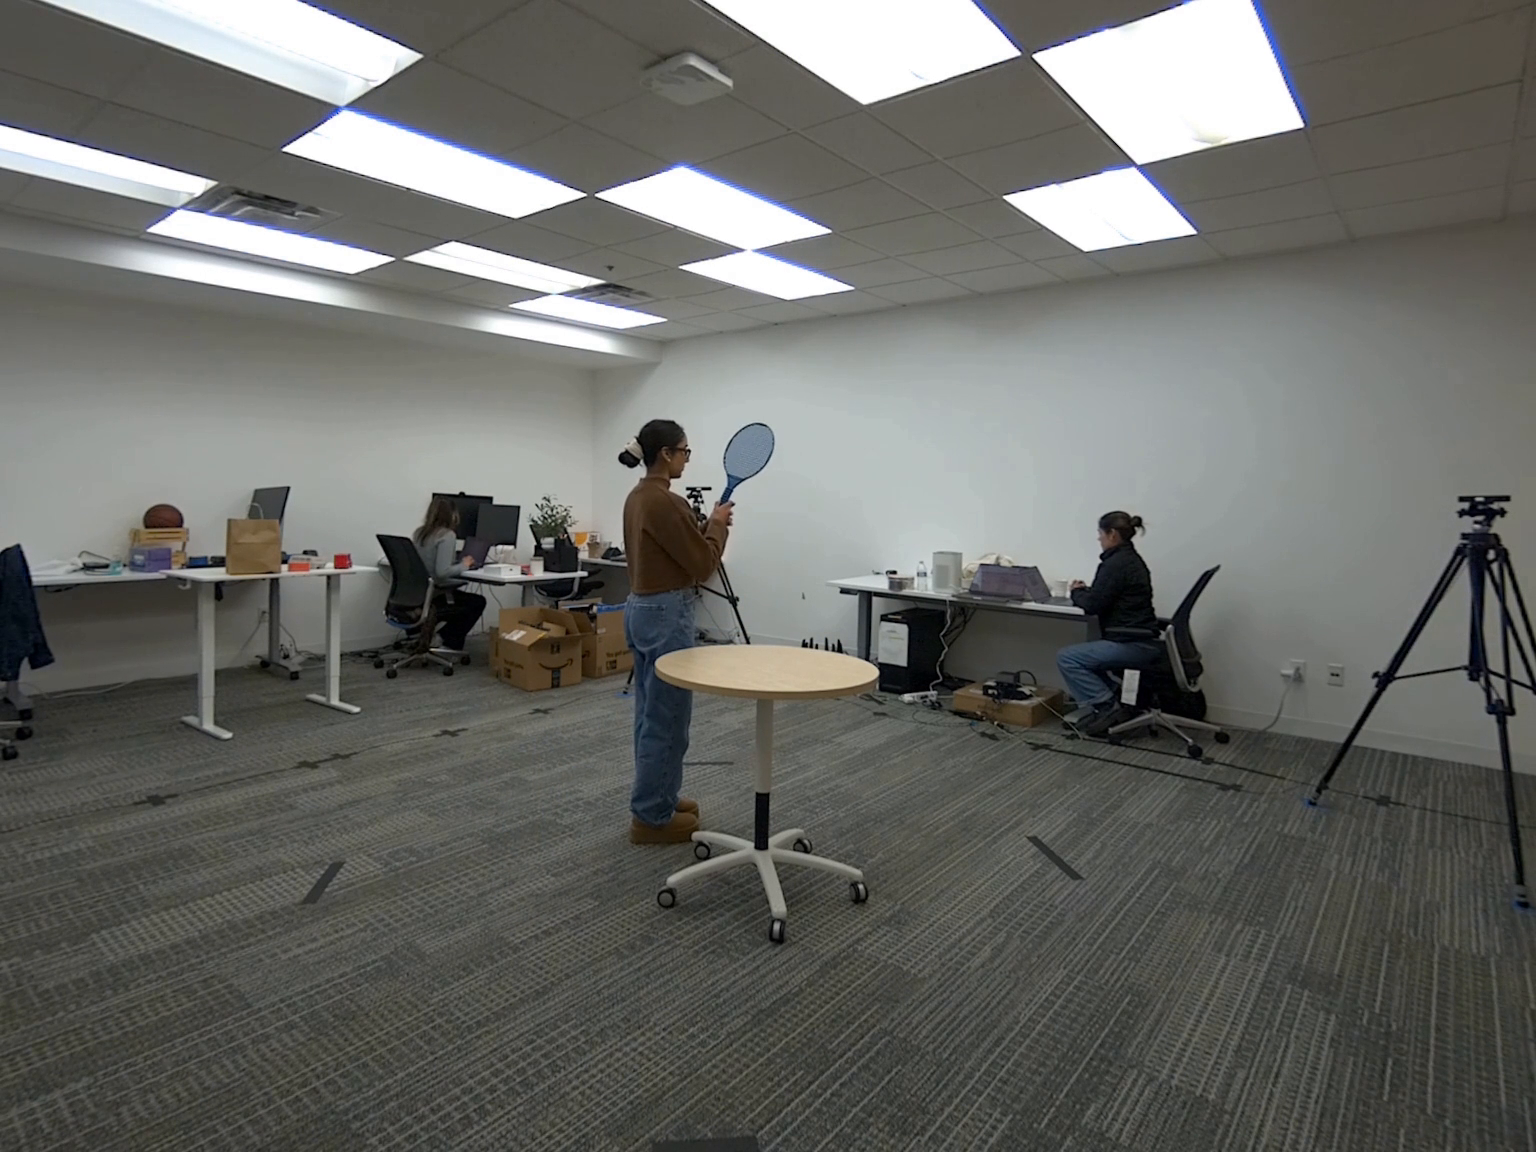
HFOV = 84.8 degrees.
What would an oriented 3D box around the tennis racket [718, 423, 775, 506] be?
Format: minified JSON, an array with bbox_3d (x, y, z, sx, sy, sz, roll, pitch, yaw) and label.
[{"bbox_3d":[-0.121,-0.441,3.495,0.221,0.435,0.030,19,-13,31],"label":"tennis racket"}]
